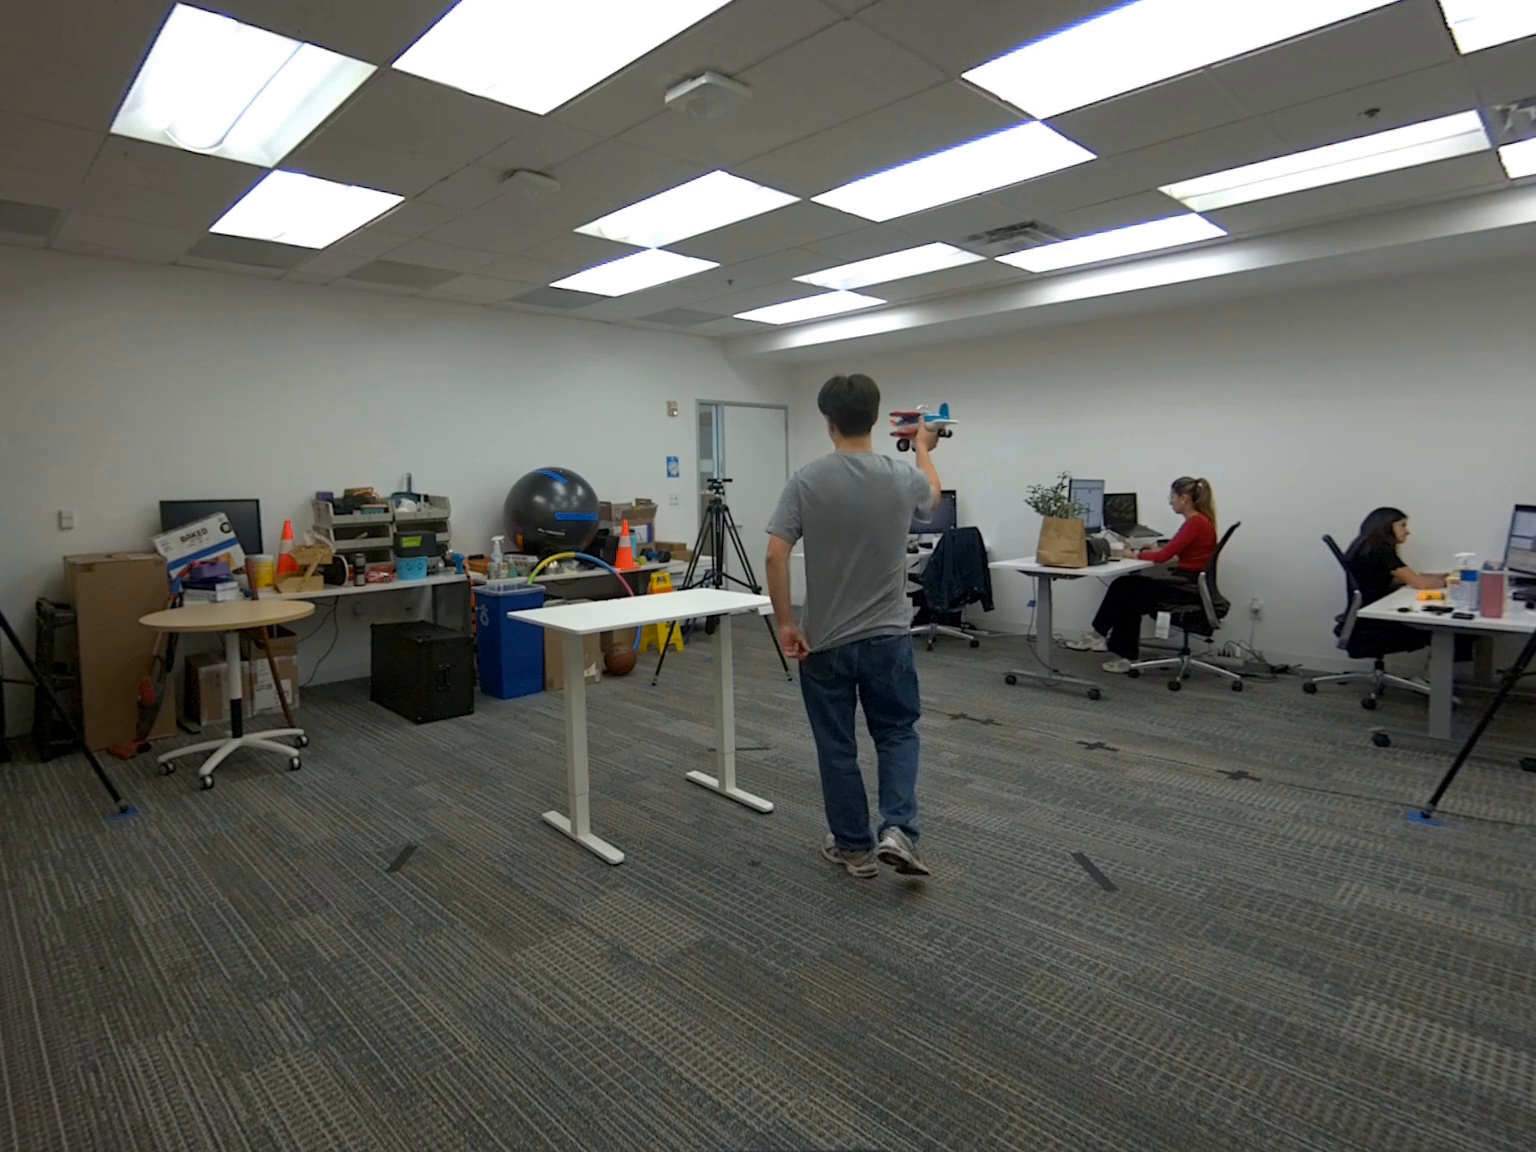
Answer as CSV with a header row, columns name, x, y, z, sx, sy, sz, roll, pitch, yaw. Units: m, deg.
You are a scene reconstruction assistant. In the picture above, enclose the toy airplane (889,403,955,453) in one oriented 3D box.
name,x,y,z,sx,sy,sz,roll,pitch,yaw
toy airplane,0.629,-0.595,3.384,0.263,0.158,0.244,-14,-9,26
